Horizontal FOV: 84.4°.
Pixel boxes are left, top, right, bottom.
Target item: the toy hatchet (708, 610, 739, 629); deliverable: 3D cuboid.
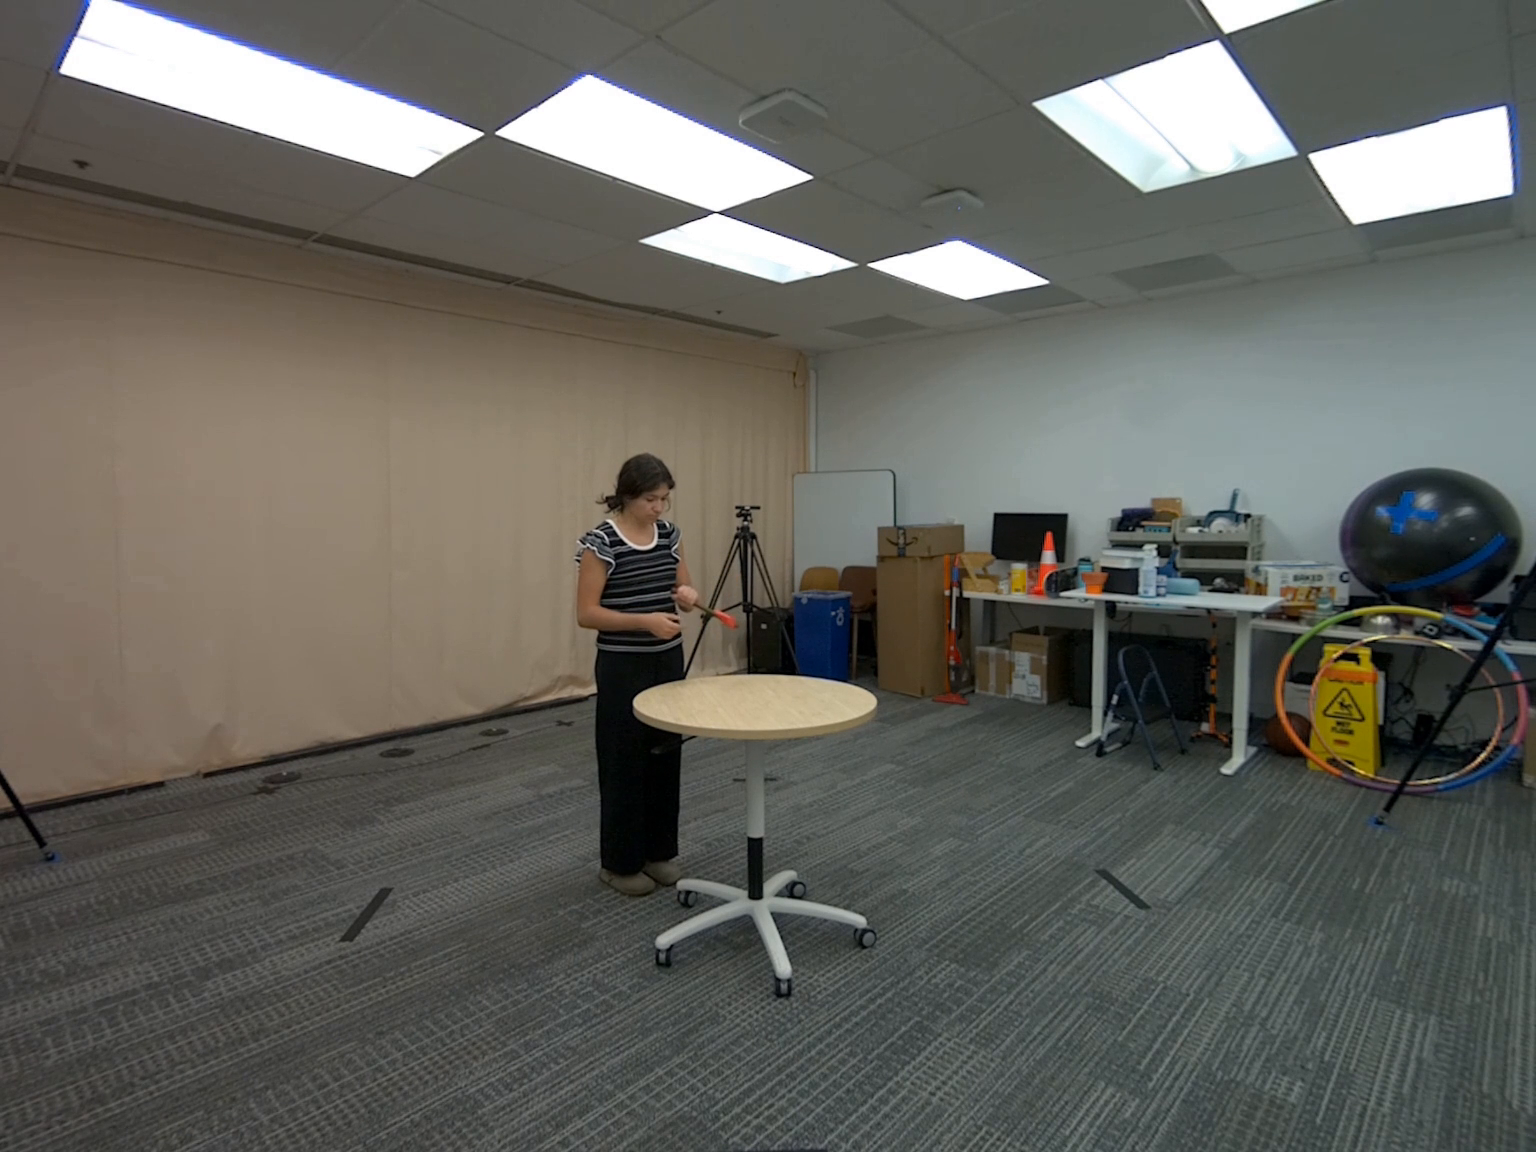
[{"bbox_3d":[-0.238,0.118,2.937,0.271,0.029,0.131,28,-9,1],"label":"toy hatchet"}]
